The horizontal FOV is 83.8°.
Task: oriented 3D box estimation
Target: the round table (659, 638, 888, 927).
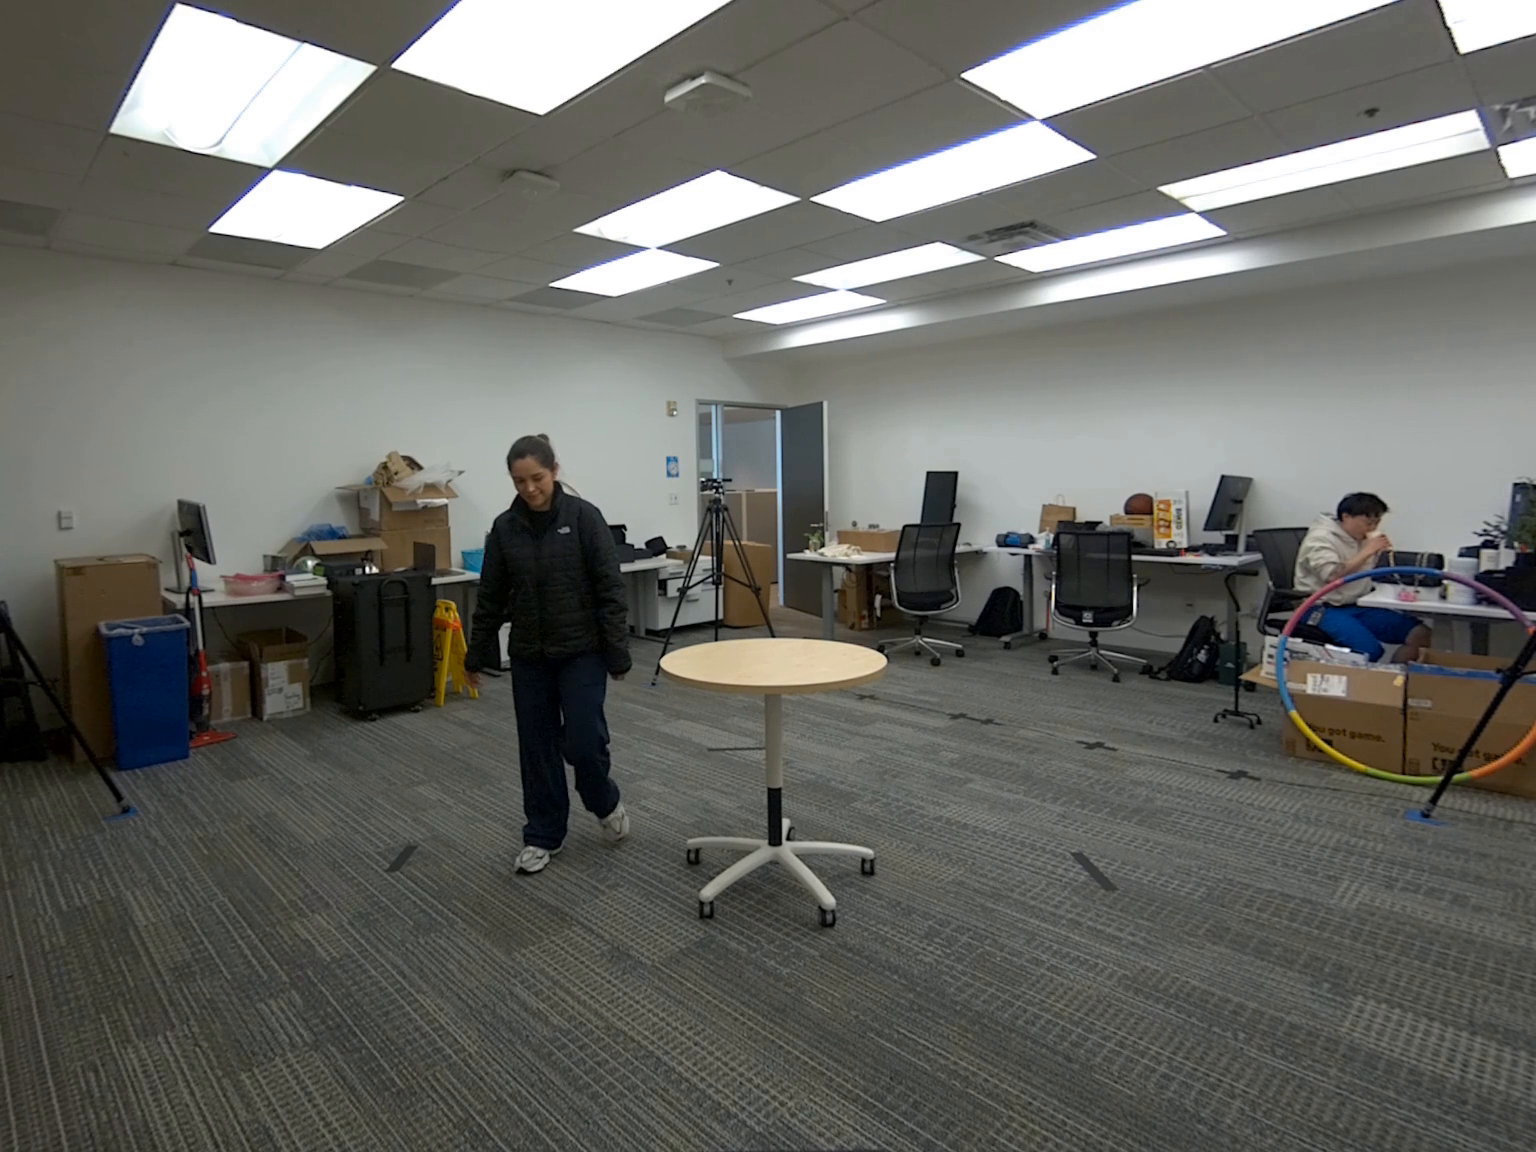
[{"bbox_3d":[0.010,0.669,2.932,0.784,0.784,0.789,-1,4,-2],"label":"round table"}]
